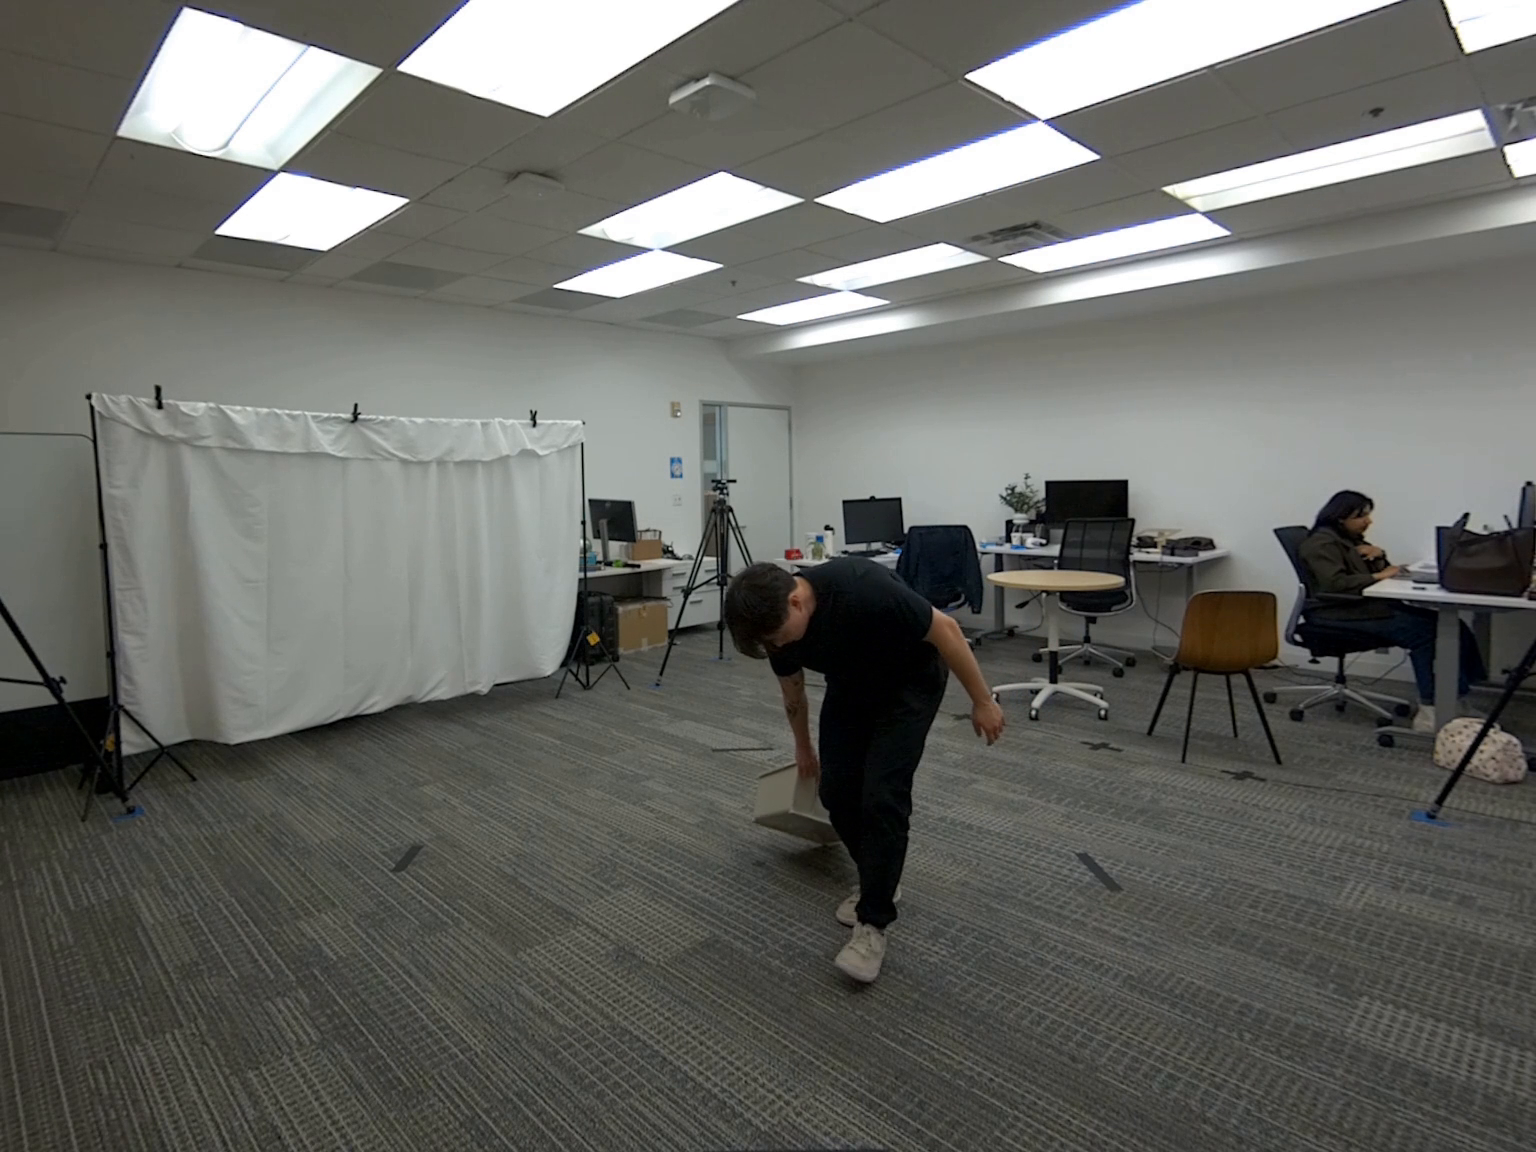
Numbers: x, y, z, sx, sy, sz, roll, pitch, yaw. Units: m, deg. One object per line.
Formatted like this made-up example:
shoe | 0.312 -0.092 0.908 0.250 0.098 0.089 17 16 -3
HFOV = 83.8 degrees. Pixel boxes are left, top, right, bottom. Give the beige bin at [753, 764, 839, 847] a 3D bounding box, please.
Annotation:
beige bin | 0.190 0.839 3.097 0.372 0.192 0.422 20 -25 -13
